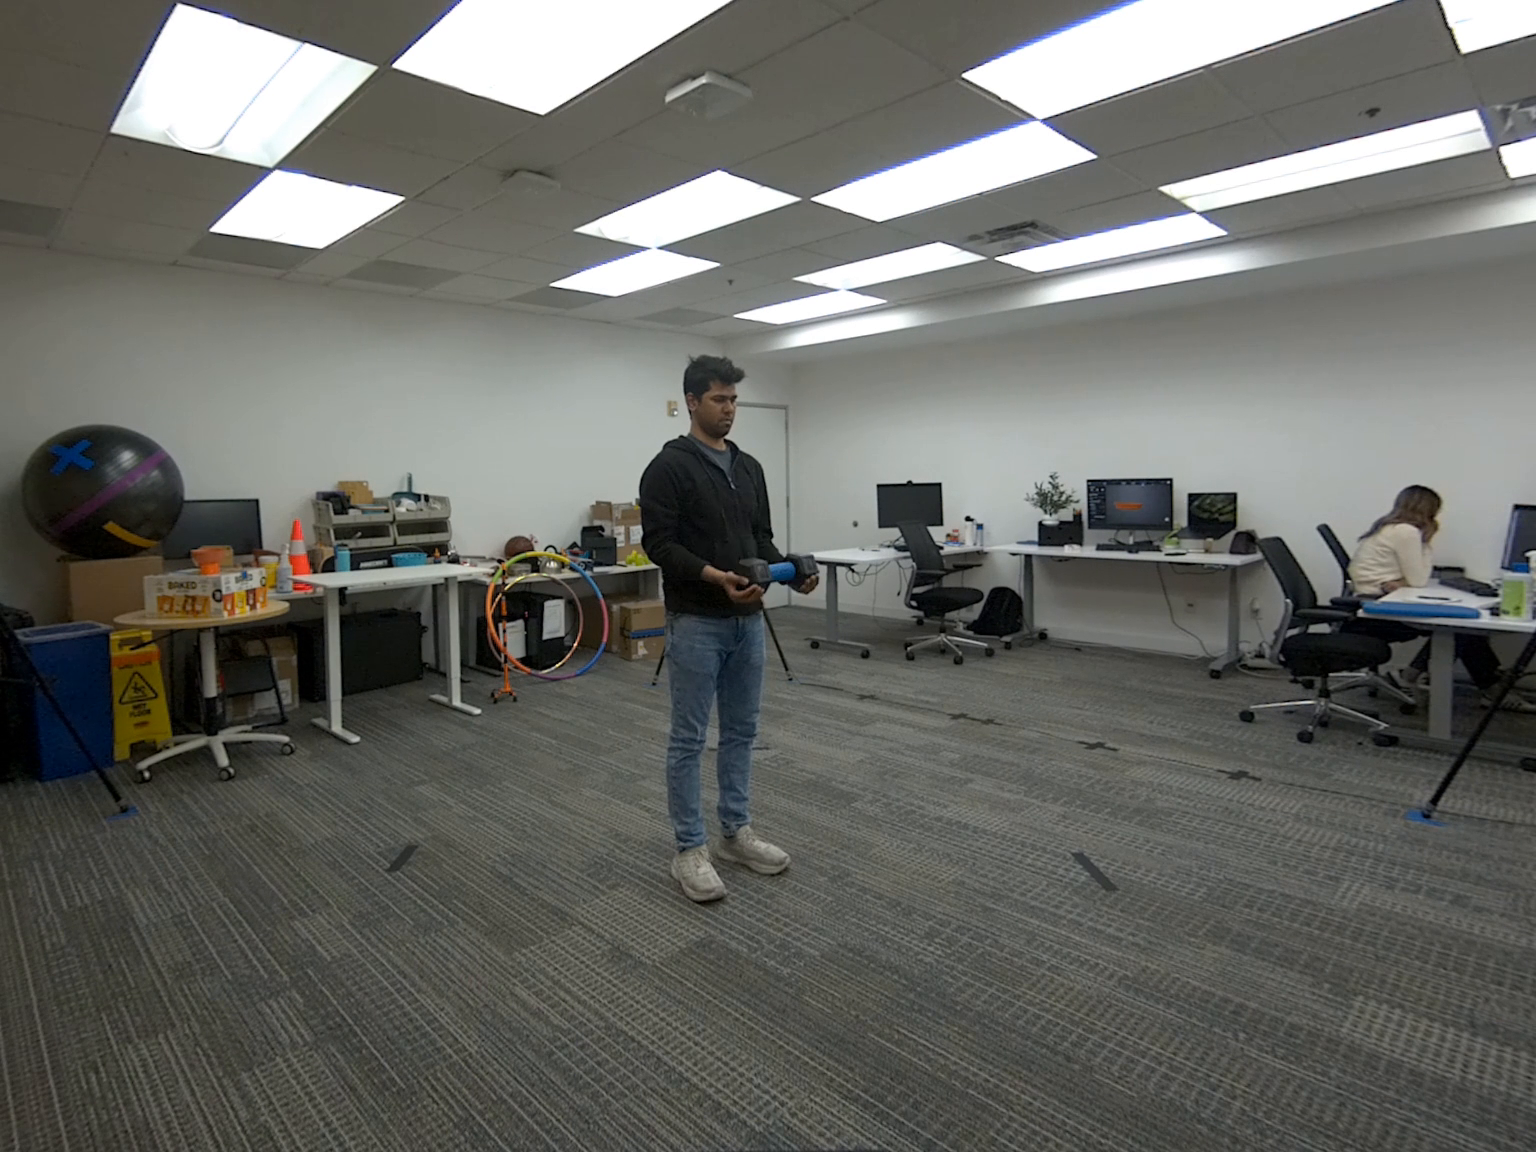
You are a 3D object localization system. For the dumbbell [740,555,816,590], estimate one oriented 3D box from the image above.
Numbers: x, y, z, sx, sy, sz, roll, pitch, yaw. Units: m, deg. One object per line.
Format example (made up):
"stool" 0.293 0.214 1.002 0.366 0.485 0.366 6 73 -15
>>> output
"dumbbell" 0.020 -0.015 2.791 0.286 0.125 0.110 -8 -16 -41
